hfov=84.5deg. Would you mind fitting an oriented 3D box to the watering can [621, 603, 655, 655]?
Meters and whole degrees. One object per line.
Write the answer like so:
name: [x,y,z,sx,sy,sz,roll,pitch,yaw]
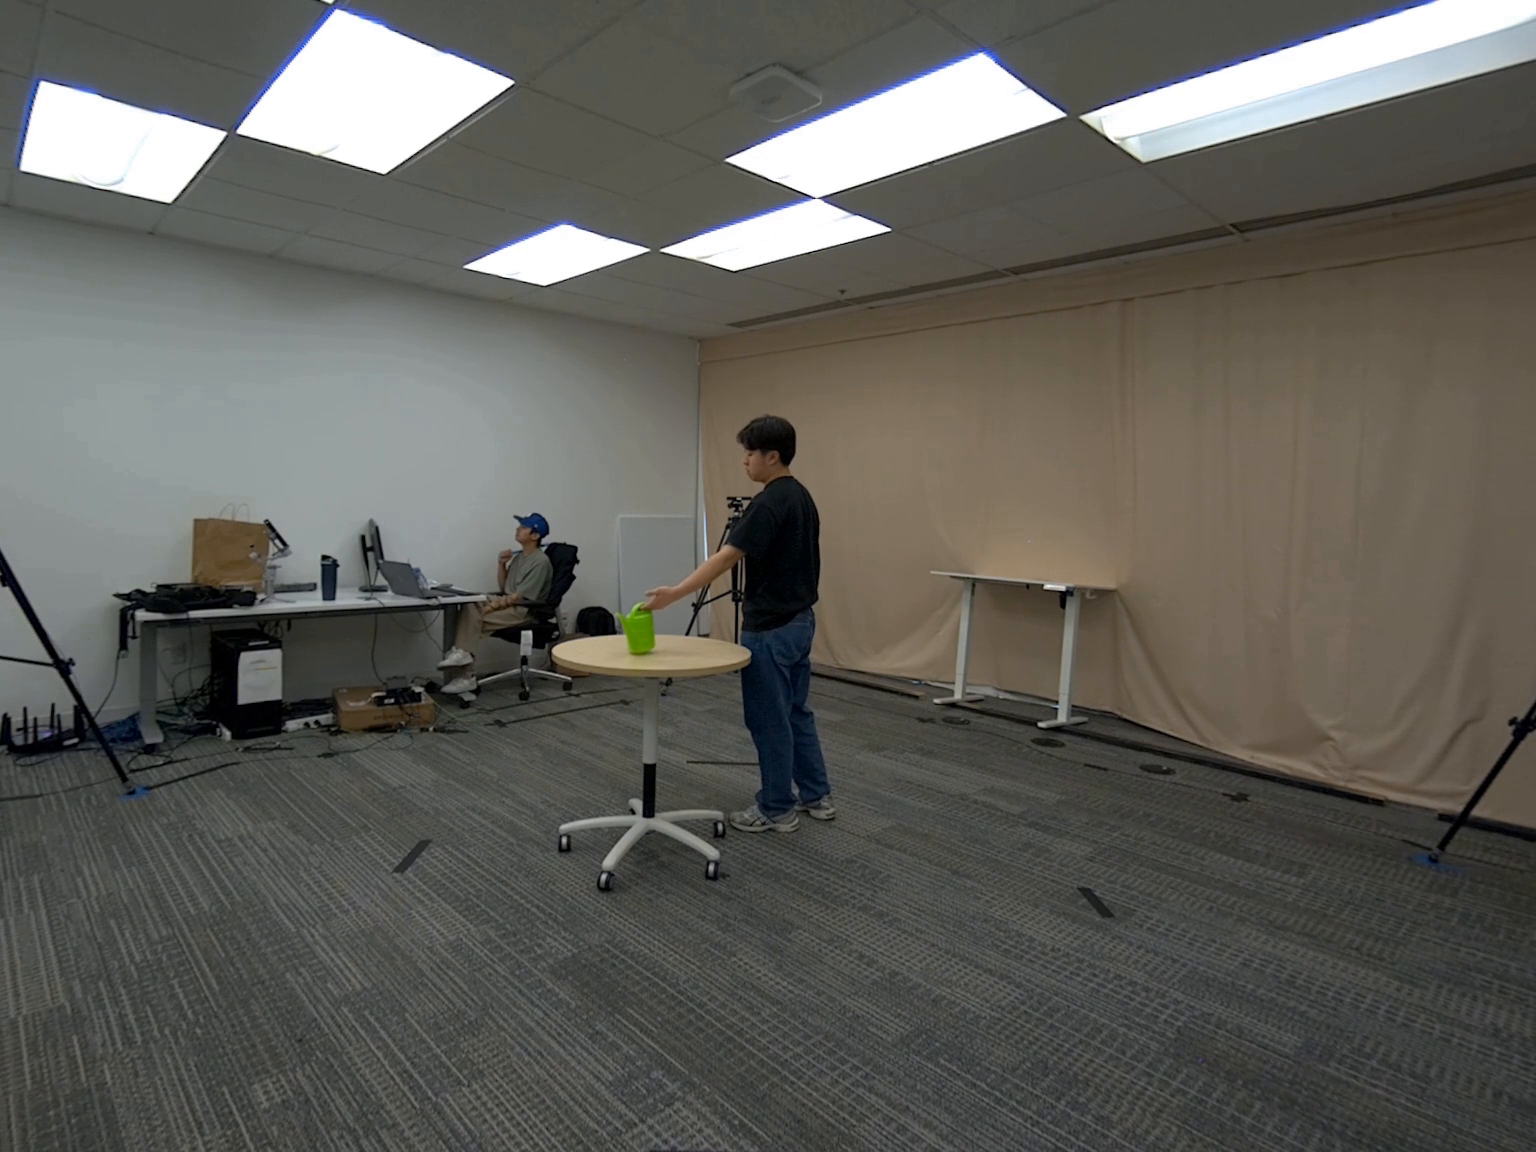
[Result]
watering can: [-0.506,0.200,3.142,0.100,0.176,0.274,1,8,28]
